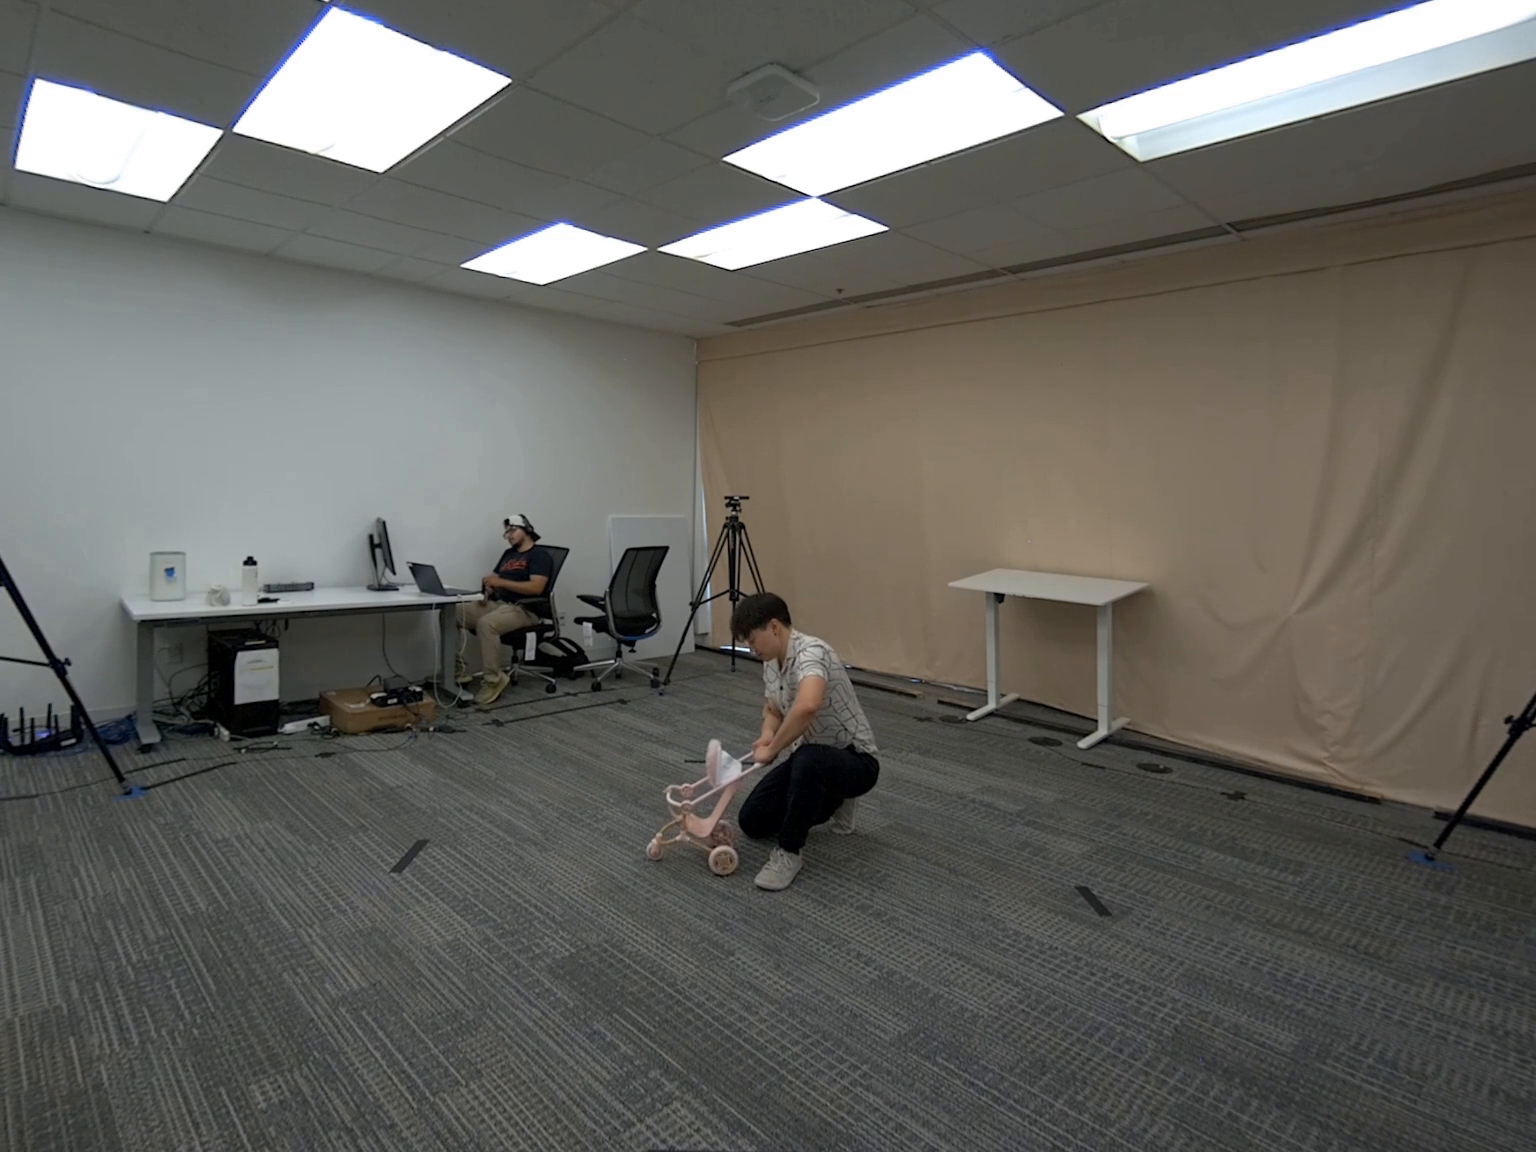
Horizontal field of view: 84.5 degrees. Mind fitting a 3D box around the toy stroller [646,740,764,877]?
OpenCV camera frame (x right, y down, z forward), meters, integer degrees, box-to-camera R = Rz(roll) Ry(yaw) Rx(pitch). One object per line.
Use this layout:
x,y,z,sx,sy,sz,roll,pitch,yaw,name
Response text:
-0.247,0.863,3.219,0.341,0.534,0.282,17,3,0,toy stroller
